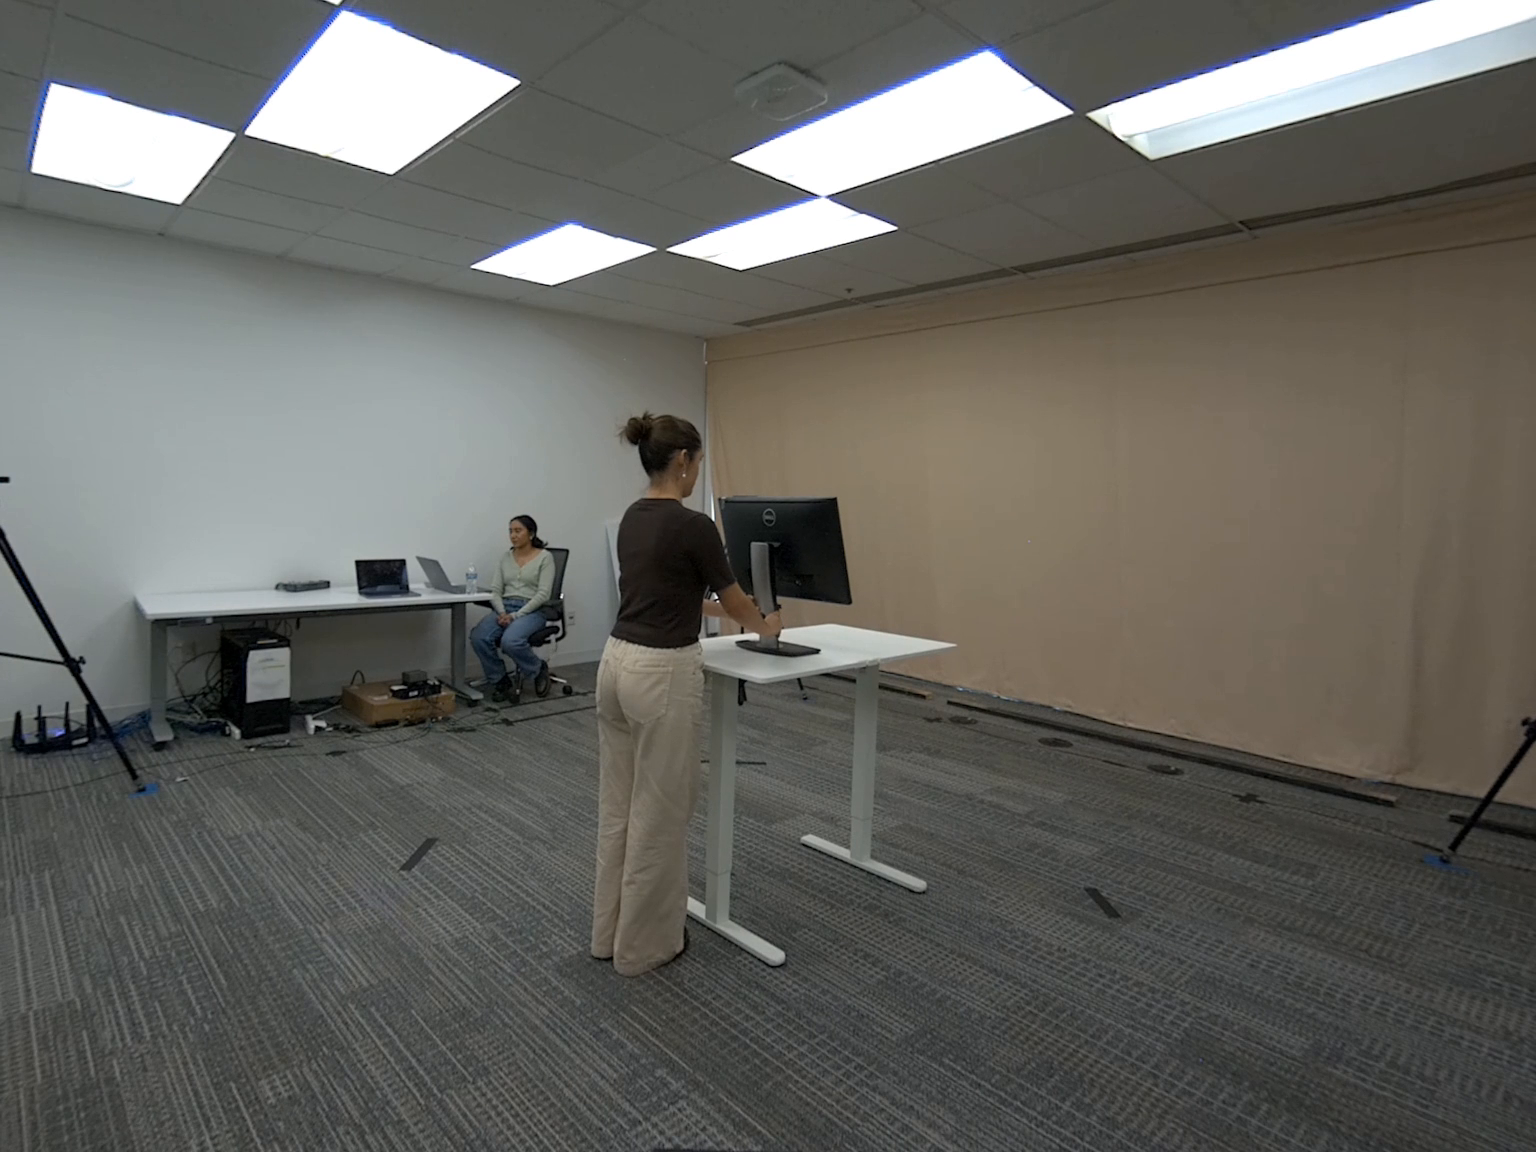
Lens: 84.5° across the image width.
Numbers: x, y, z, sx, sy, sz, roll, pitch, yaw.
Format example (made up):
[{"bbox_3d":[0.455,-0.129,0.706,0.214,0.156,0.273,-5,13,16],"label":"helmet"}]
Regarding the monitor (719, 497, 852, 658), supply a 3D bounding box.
[{"bbox_3d":[0.026,-0.007,2.824,0.170,0.516,0.543,2,1,-45],"label":"monitor"}]
